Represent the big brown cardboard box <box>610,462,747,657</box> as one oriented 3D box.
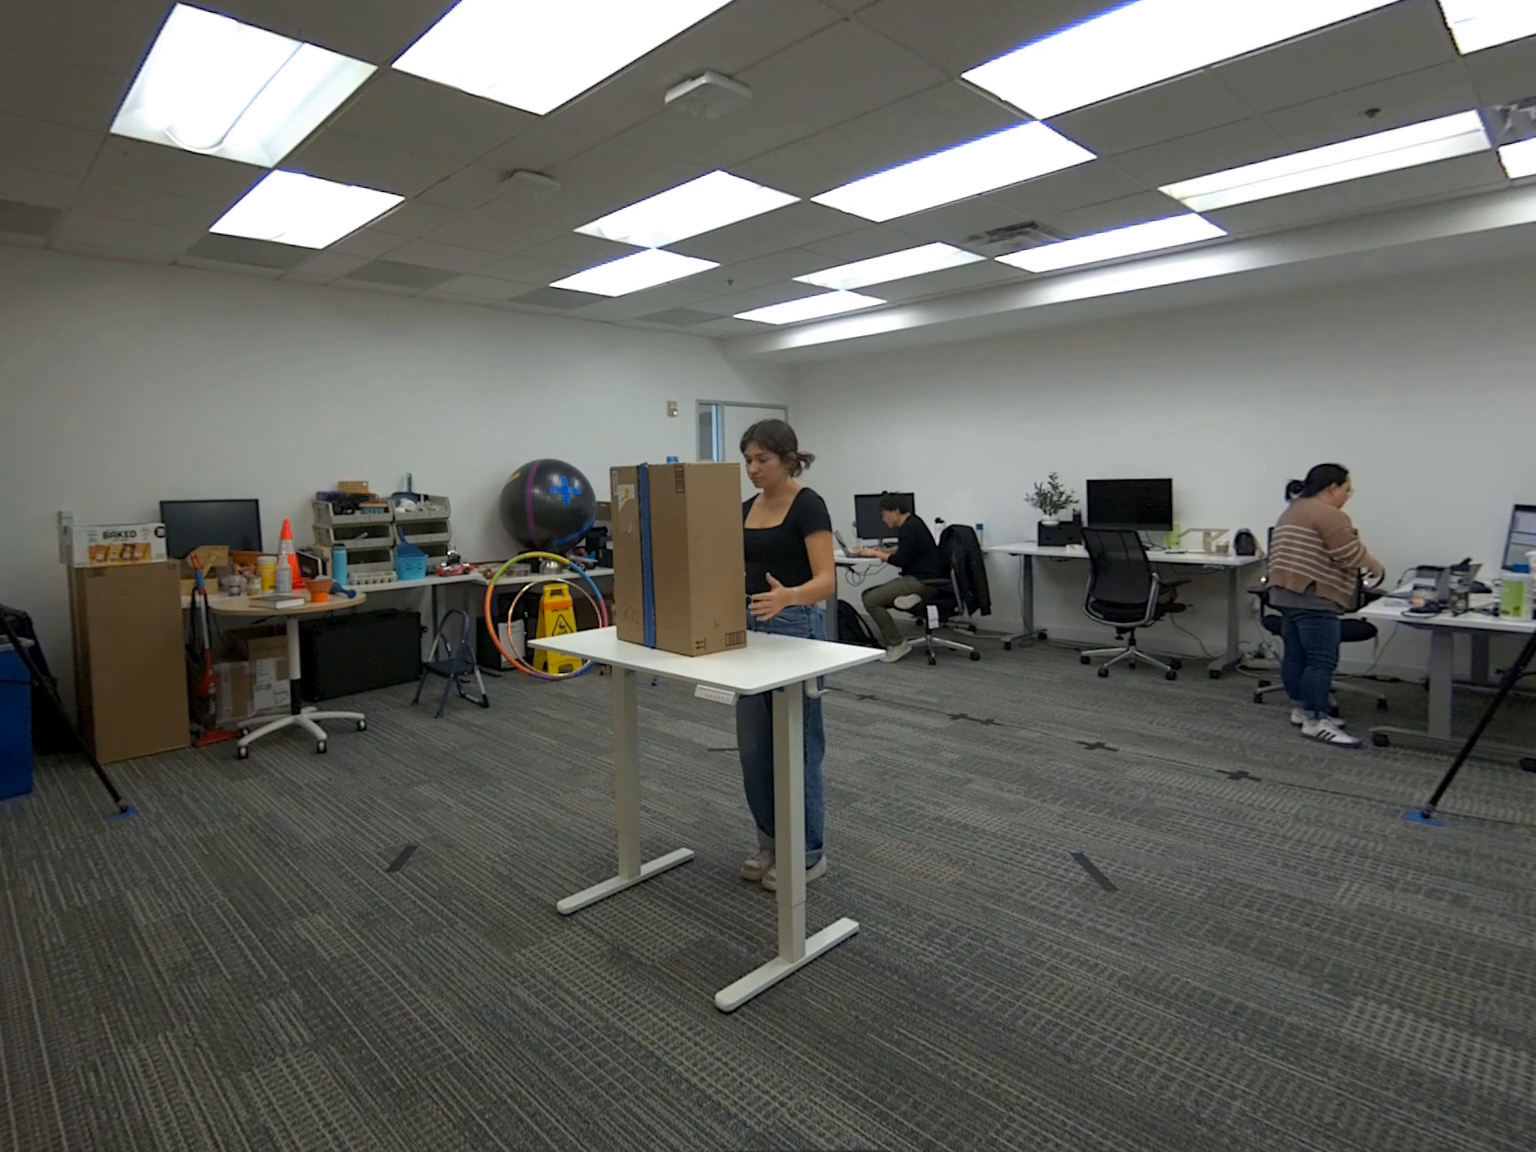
[{"bbox_3d":[-0.287,-0.075,2.692,0.227,0.587,0.430,-5,5,-40],"label":"big brown cardboard box"}]
